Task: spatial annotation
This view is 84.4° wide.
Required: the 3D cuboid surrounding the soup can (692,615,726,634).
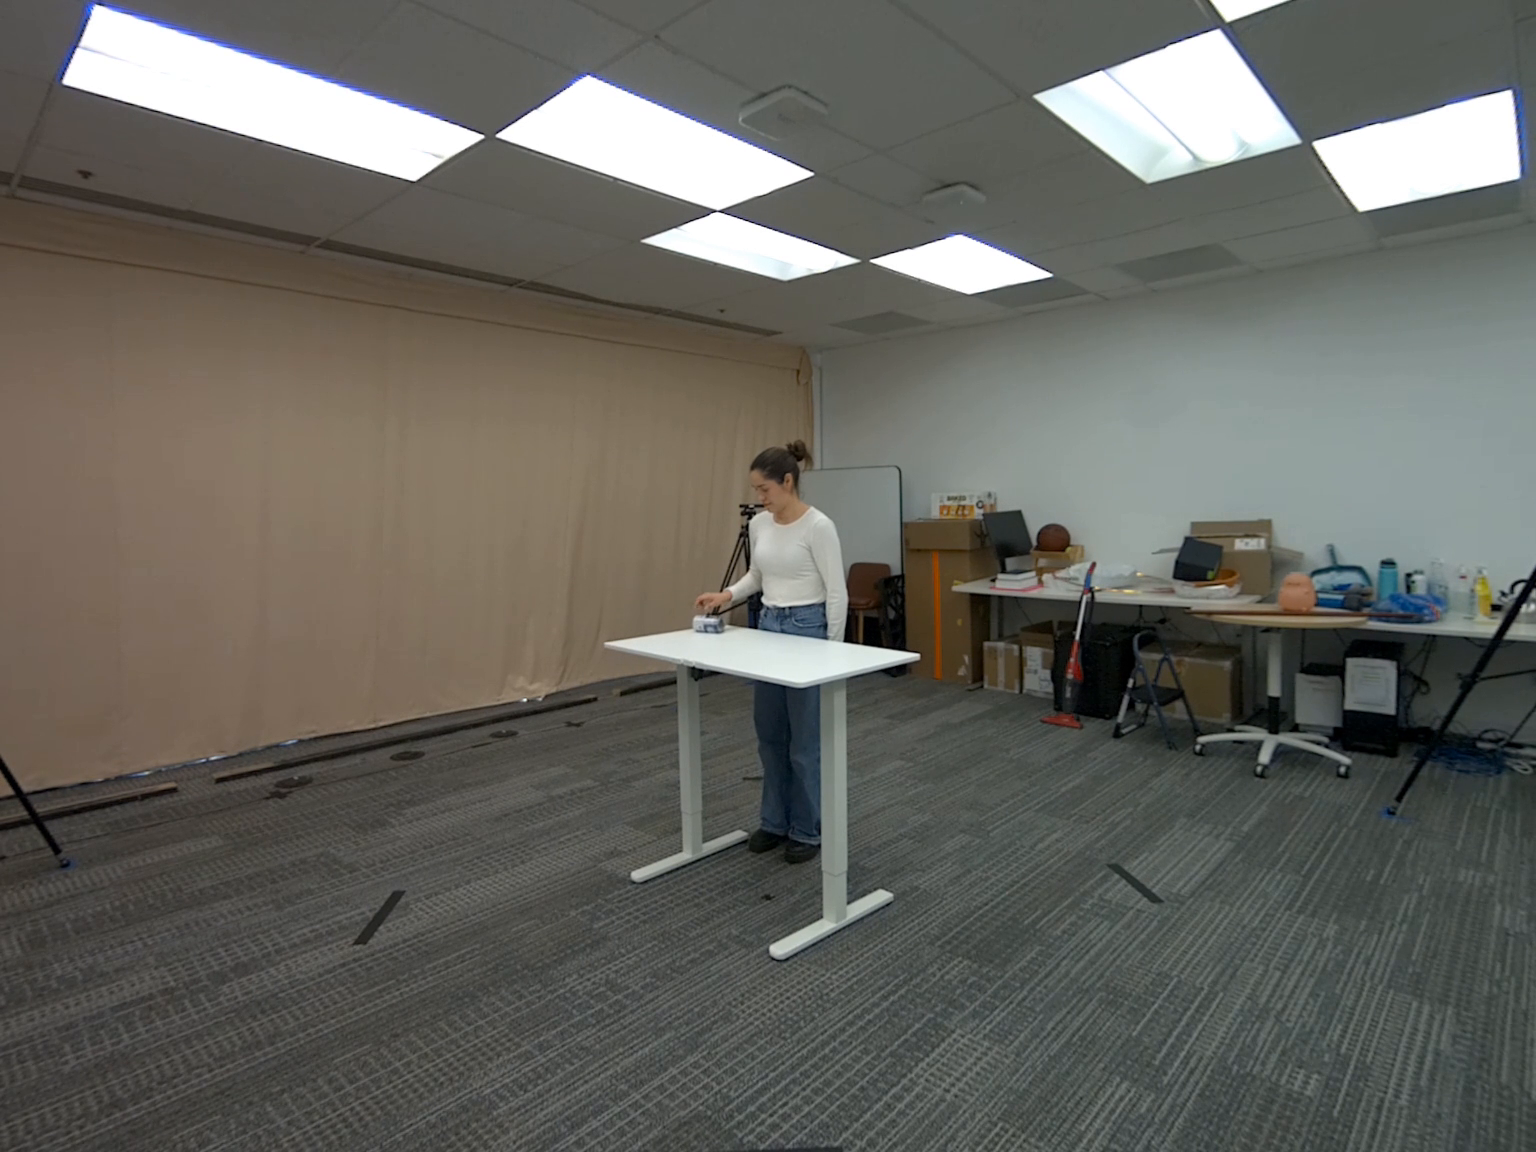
[{"bbox_3d":[-0.231,0.194,3.368,0.123,0.067,0.066,1,4,15],"label":"soup can"}]
